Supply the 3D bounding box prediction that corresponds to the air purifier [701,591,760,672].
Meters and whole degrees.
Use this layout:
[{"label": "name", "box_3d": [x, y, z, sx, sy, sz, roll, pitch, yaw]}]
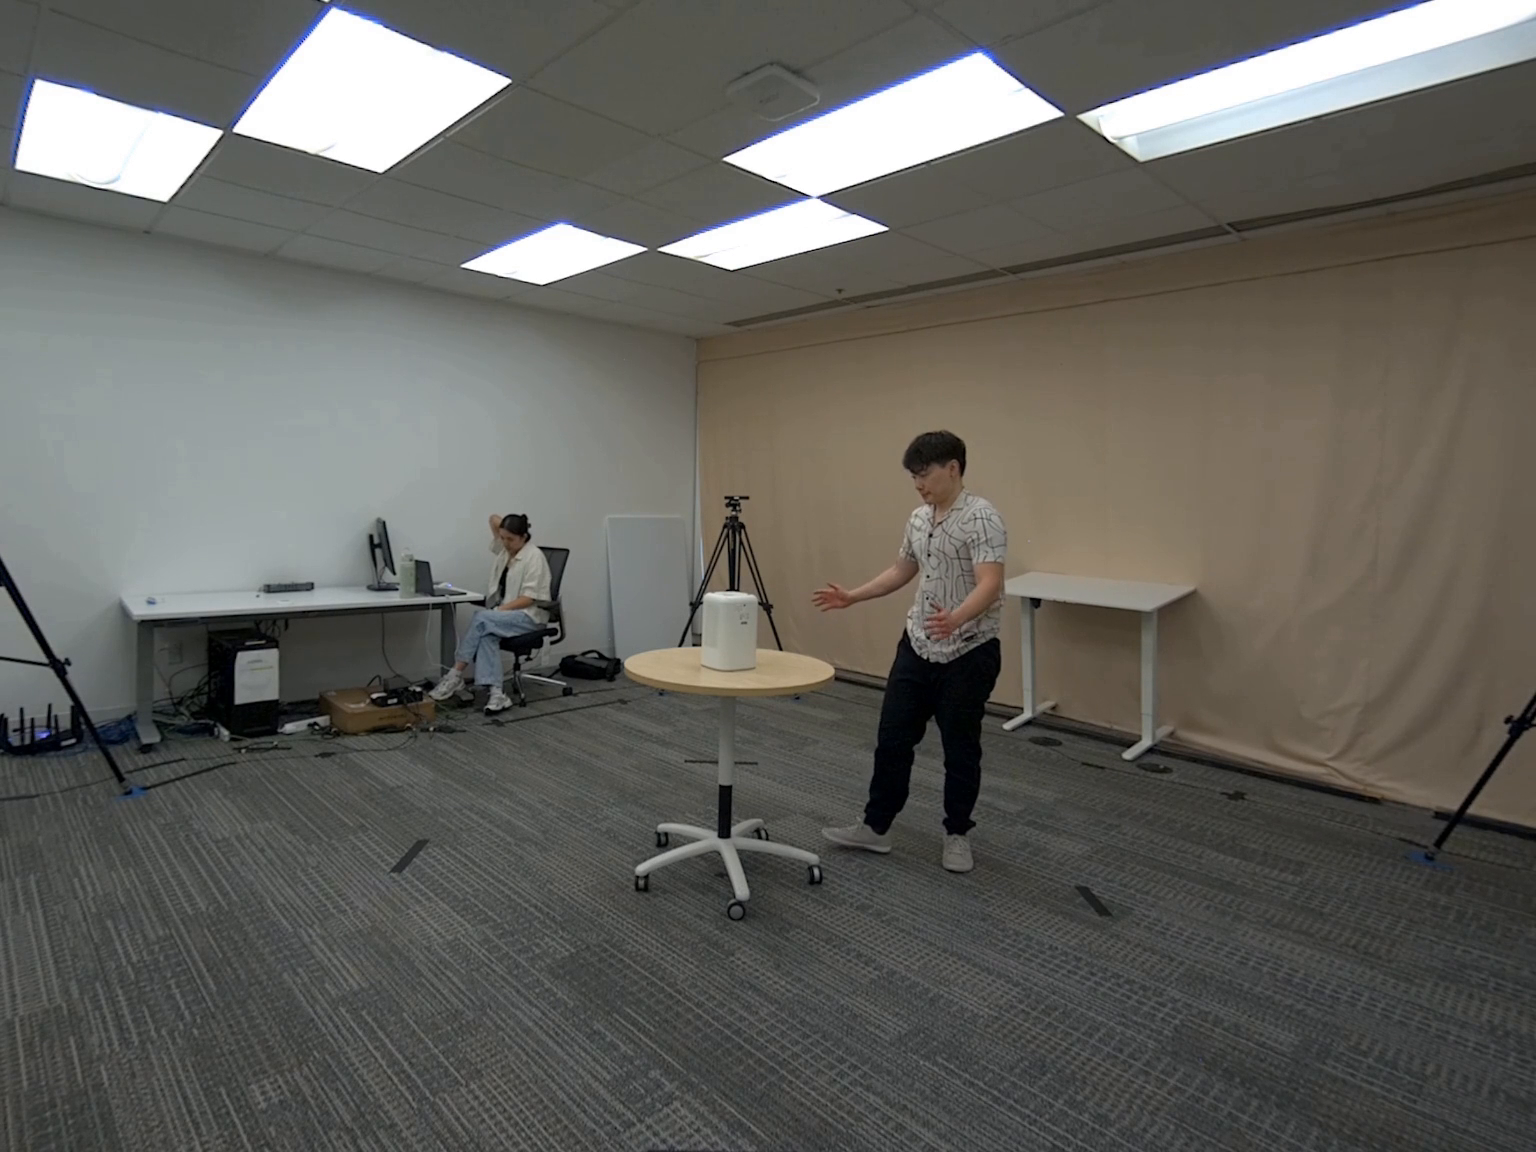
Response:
[{"label": "air purifier", "box_3d": [-0.143, 0.193, 3.038, 0.167, 0.265, 0.176, -1, 4, -36]}]
